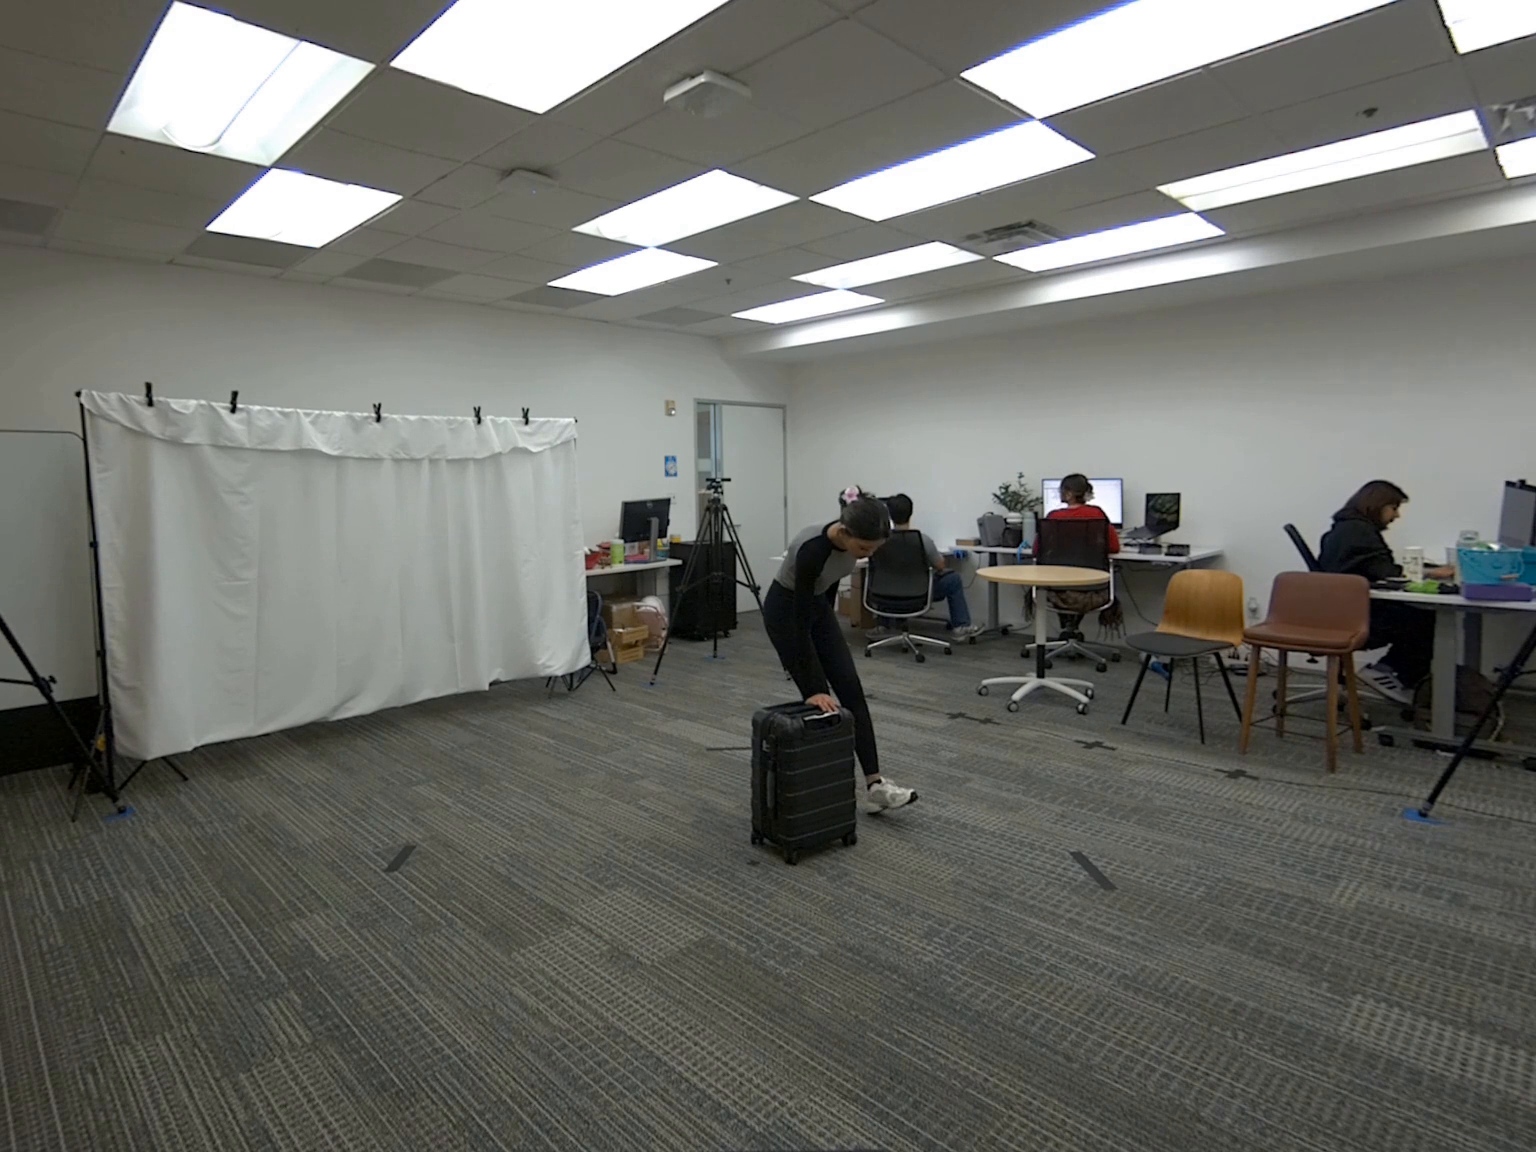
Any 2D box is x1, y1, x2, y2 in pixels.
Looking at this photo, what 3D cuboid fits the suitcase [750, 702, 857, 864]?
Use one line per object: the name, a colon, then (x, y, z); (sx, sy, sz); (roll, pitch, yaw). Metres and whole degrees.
suitcase: (0.133, 0.753, 3.224); (0.366, 0.547, 0.256); (-3, 6, -34)
